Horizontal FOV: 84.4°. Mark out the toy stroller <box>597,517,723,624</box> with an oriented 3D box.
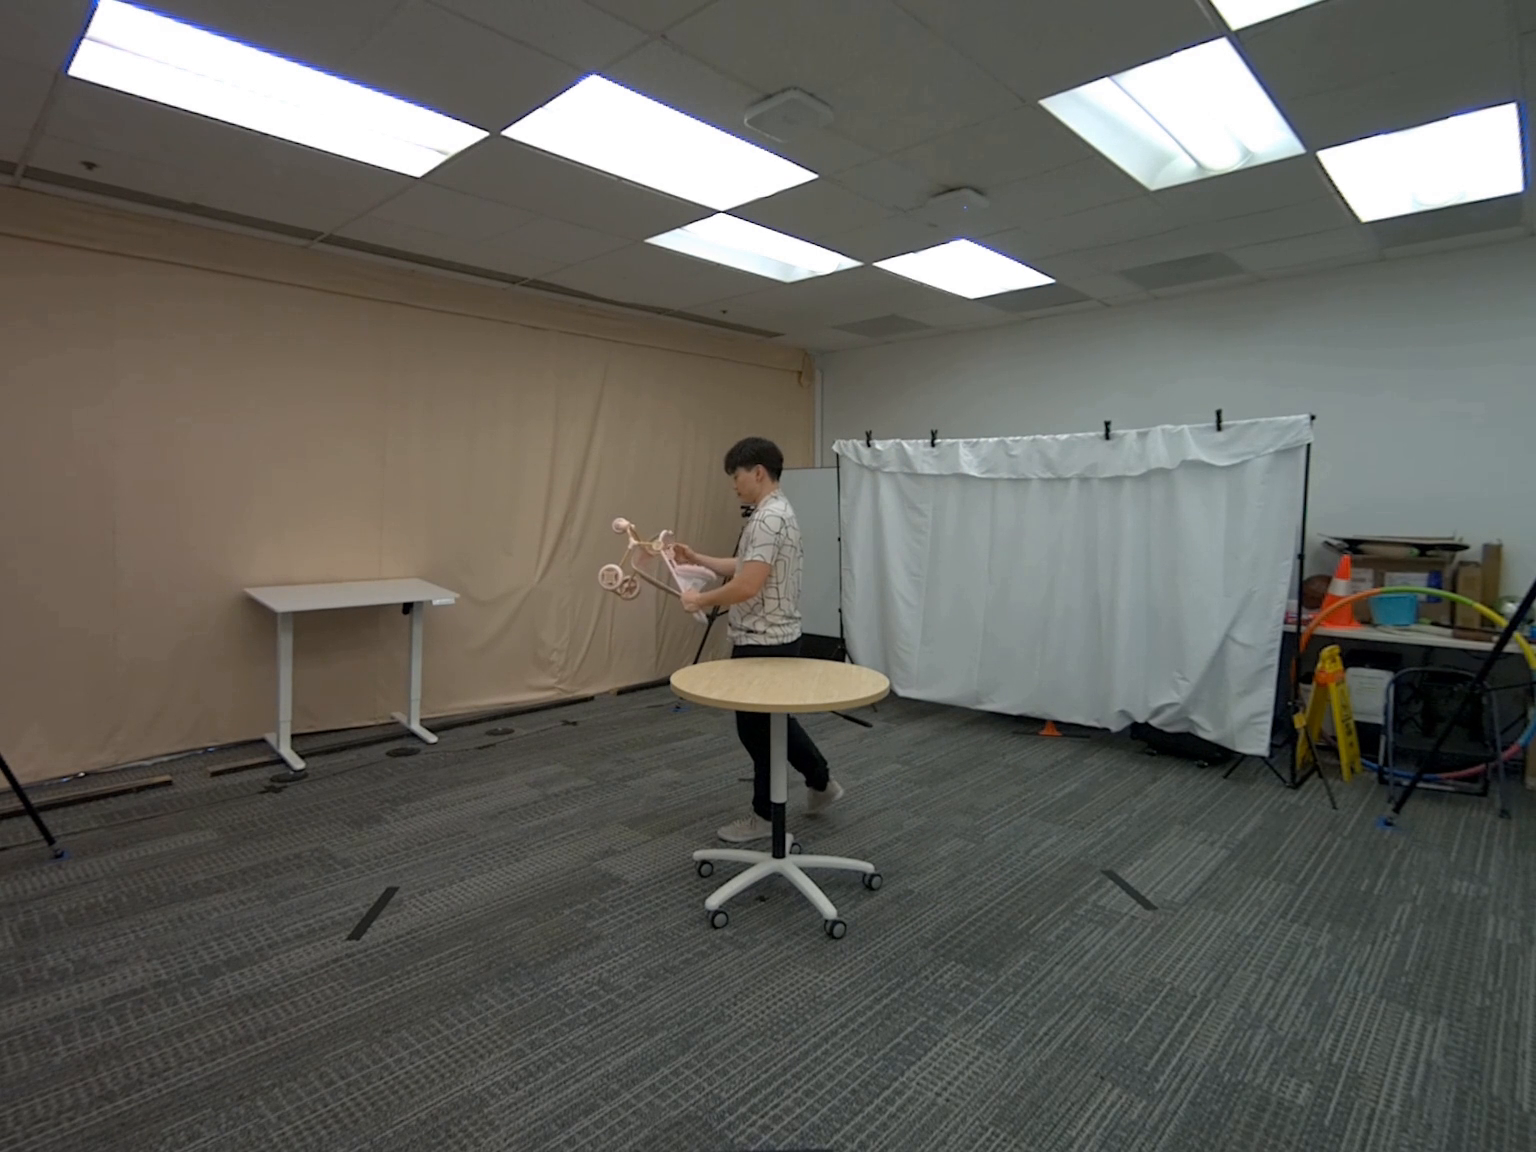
[{"bbox_3d":[-0.458,-0.026,3.581,0.545,0.342,0.275,16,-14,15],"label":"toy stroller"}]
